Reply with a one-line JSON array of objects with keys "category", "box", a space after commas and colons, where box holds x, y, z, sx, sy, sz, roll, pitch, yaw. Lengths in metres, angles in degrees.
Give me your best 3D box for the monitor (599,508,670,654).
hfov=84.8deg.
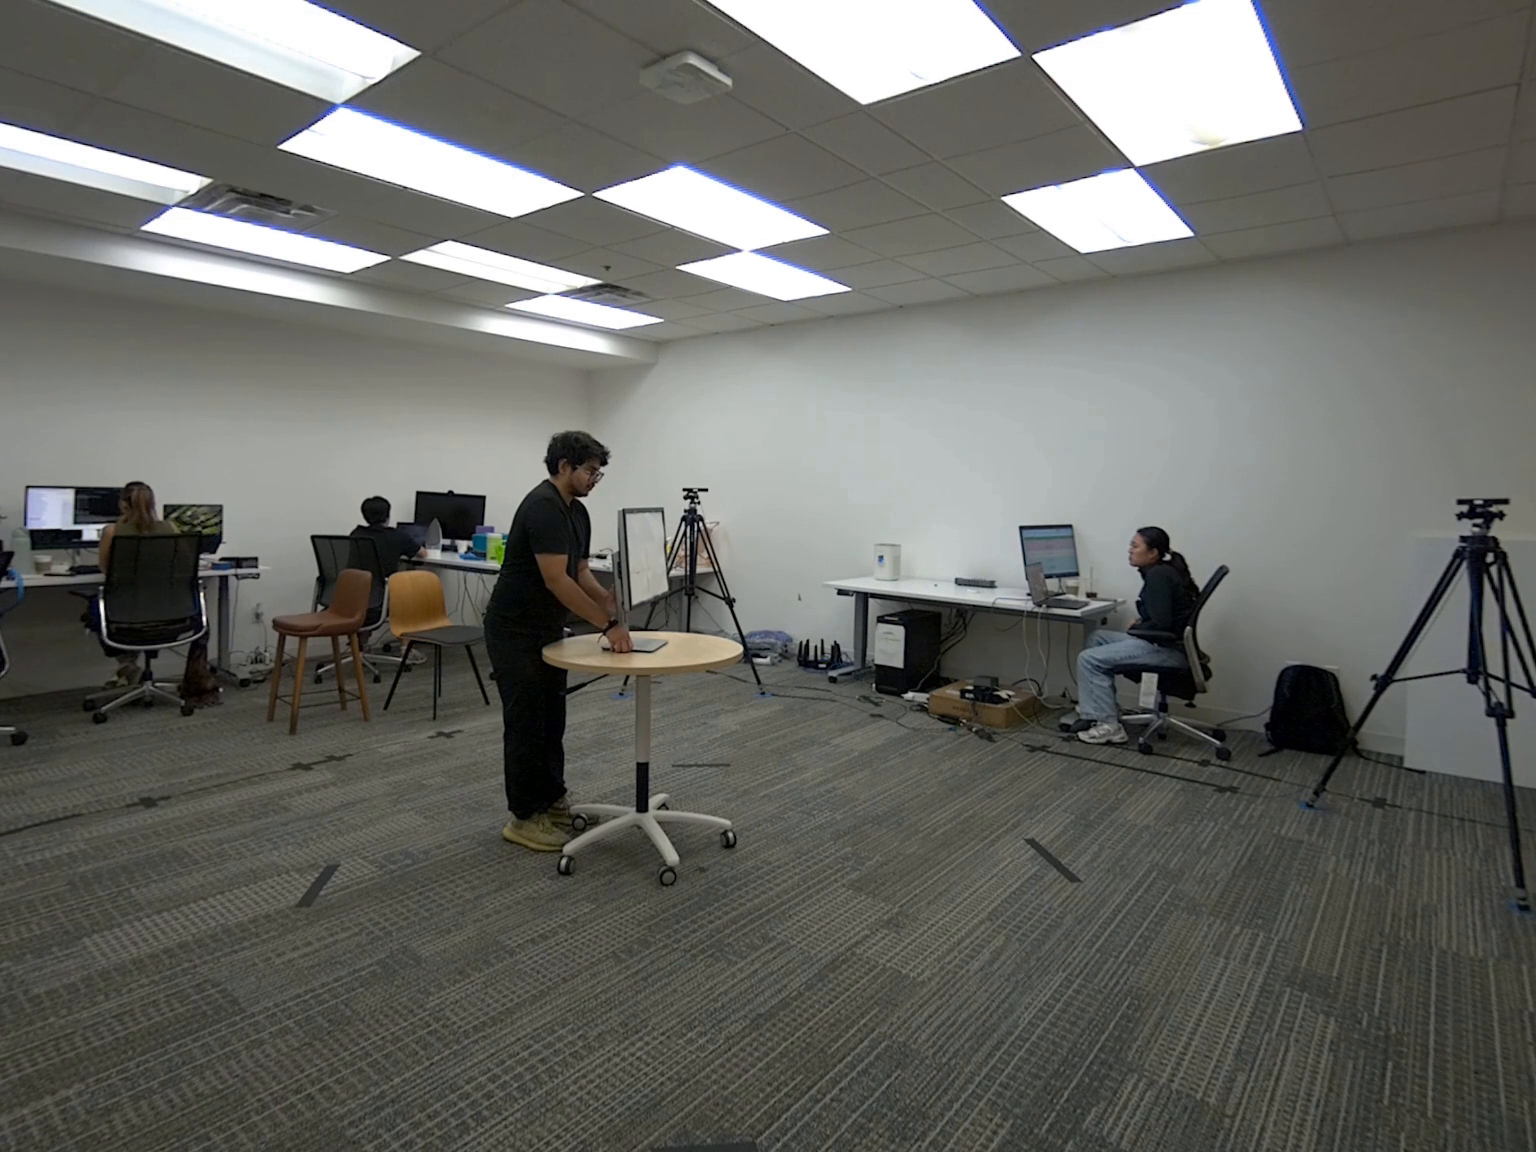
[{"category": "monitor", "box": [-0.543, 0.009, 3.280, 0.213, 0.553, 0.560, -1, 3, 10]}]
